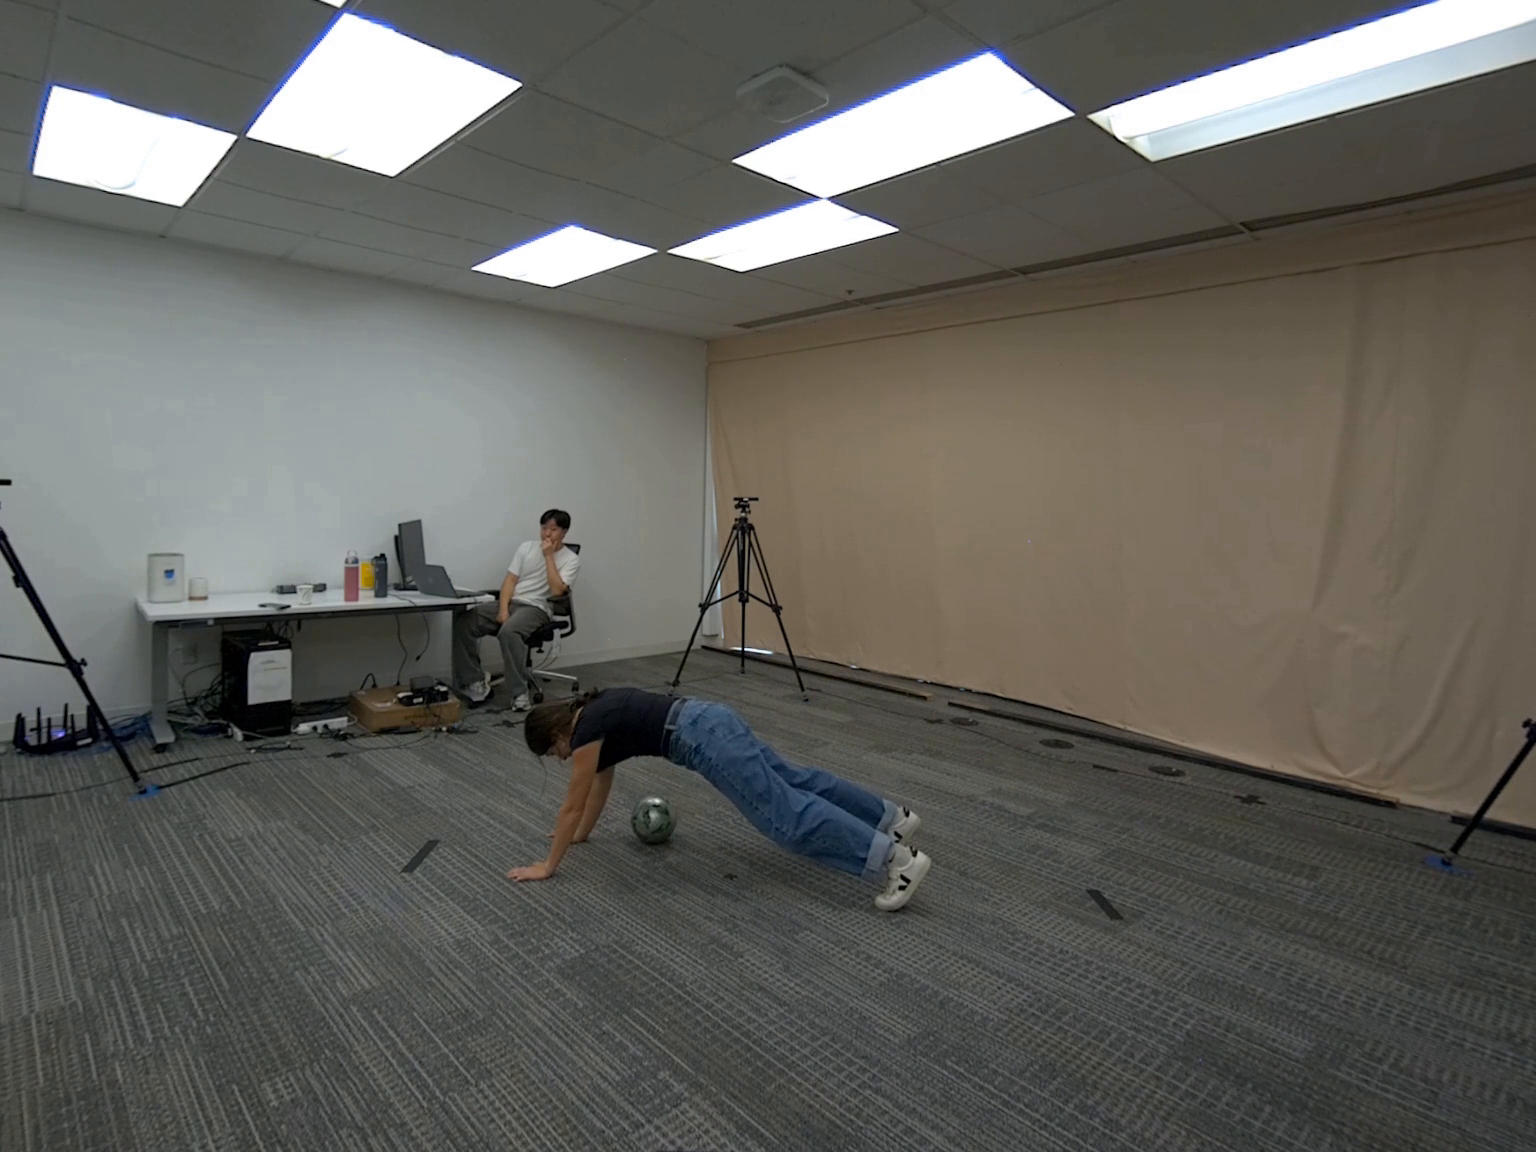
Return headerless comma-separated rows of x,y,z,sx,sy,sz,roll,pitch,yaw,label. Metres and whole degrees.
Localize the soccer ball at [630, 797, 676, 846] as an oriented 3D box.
-0.458,0.971,3.399,0.187,0.187,0.188,1,4,-1,soccer ball
